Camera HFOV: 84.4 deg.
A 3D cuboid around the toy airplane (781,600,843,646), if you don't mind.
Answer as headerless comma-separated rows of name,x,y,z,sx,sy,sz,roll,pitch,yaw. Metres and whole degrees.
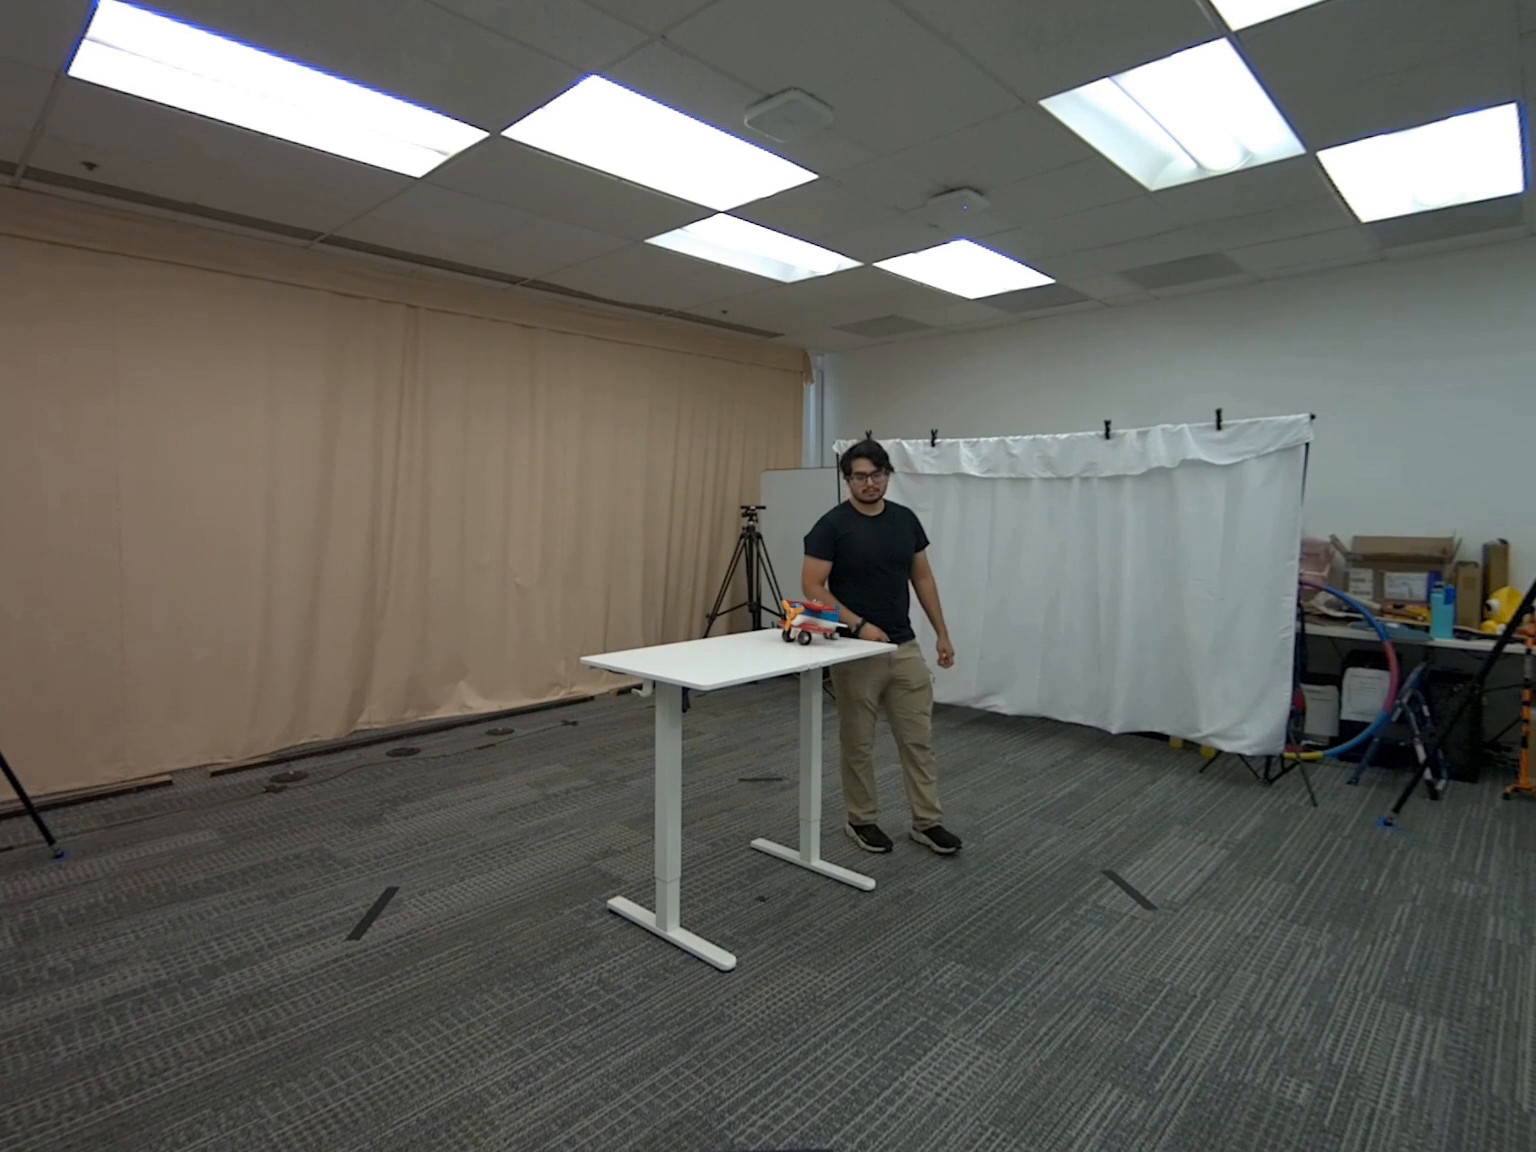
toy airplane,0.157,0.171,3.171,0.257,0.156,0.254,4,6,23
